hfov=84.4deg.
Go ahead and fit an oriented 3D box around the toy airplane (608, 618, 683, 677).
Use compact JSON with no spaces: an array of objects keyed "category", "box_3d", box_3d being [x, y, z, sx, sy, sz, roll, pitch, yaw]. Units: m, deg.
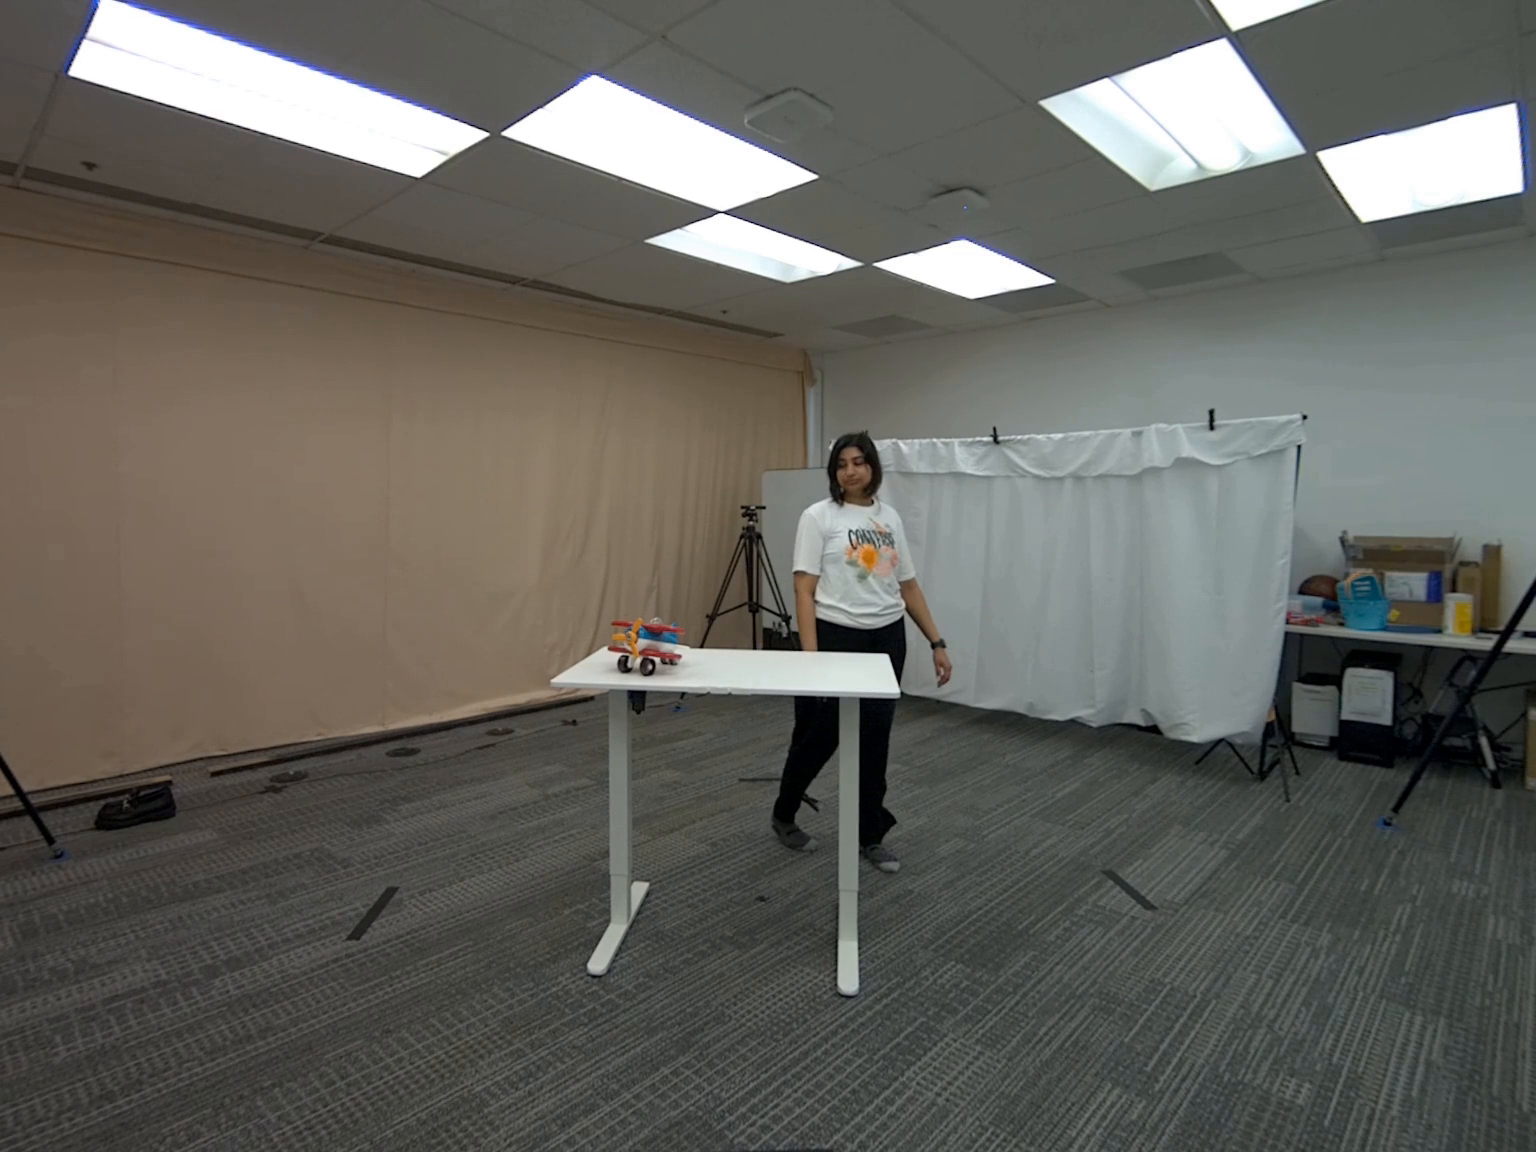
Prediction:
[{"category":"toy airplane","box_3d":[-0.383,0.214,2.629,0.252,0.156,0.260,1,7,1]}]
